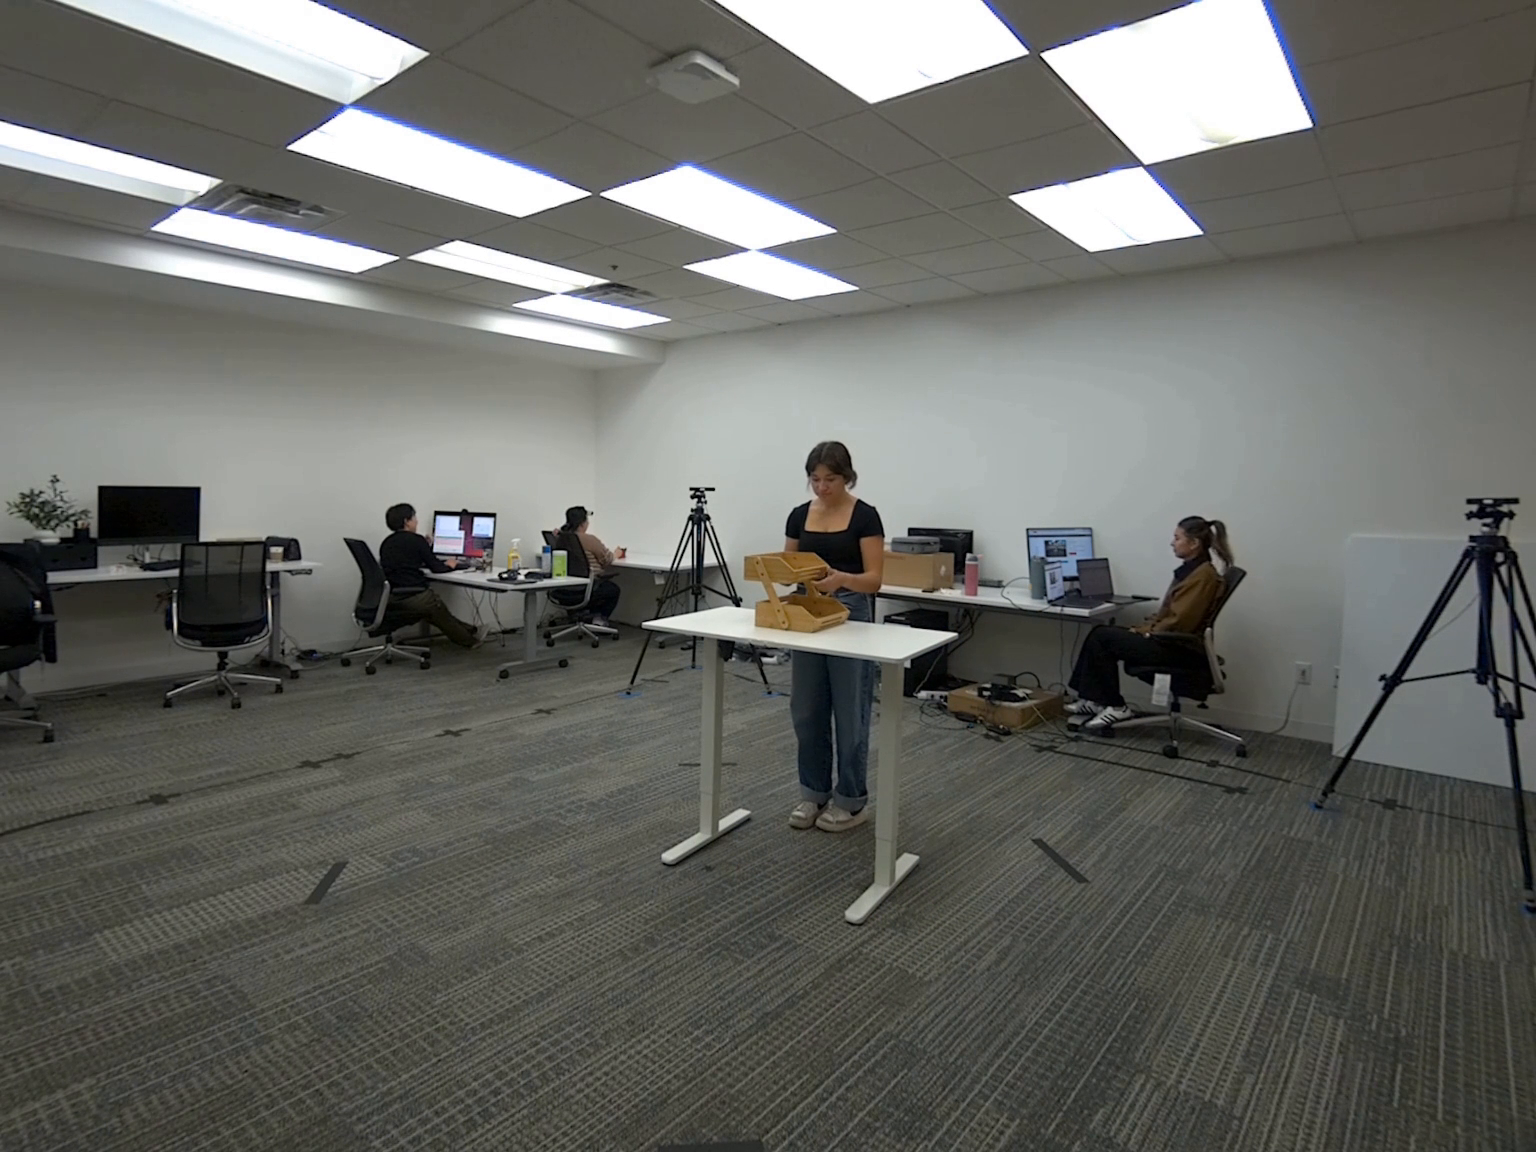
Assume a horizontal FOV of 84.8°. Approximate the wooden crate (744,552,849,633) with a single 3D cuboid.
[{"bbox_3d":[0.107,0.047,3.215,0.311,0.272,0.316,4,5,30],"label":"wooden crate"}]
